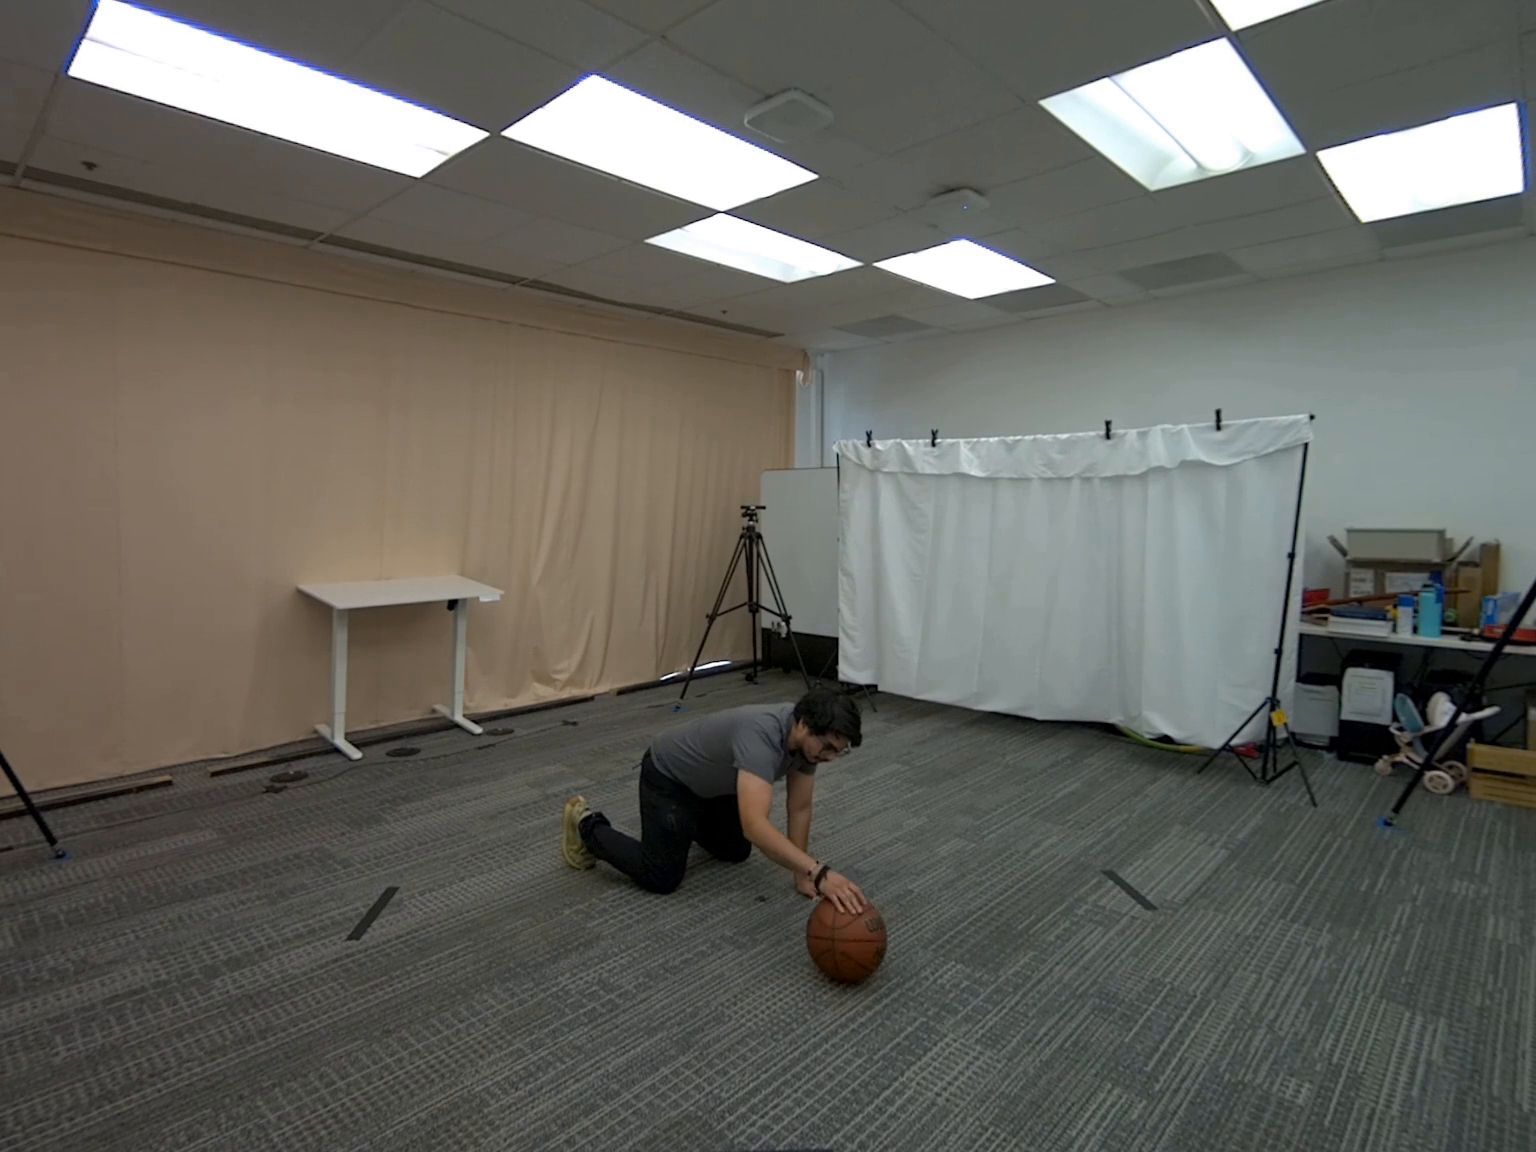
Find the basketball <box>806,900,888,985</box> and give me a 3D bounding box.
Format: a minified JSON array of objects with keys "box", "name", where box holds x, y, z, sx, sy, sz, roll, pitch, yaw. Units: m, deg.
[{"box":[0.227,1.063,2.486,0.236,0.235,0.237,0,4,-2],"name":"basketball"}]
